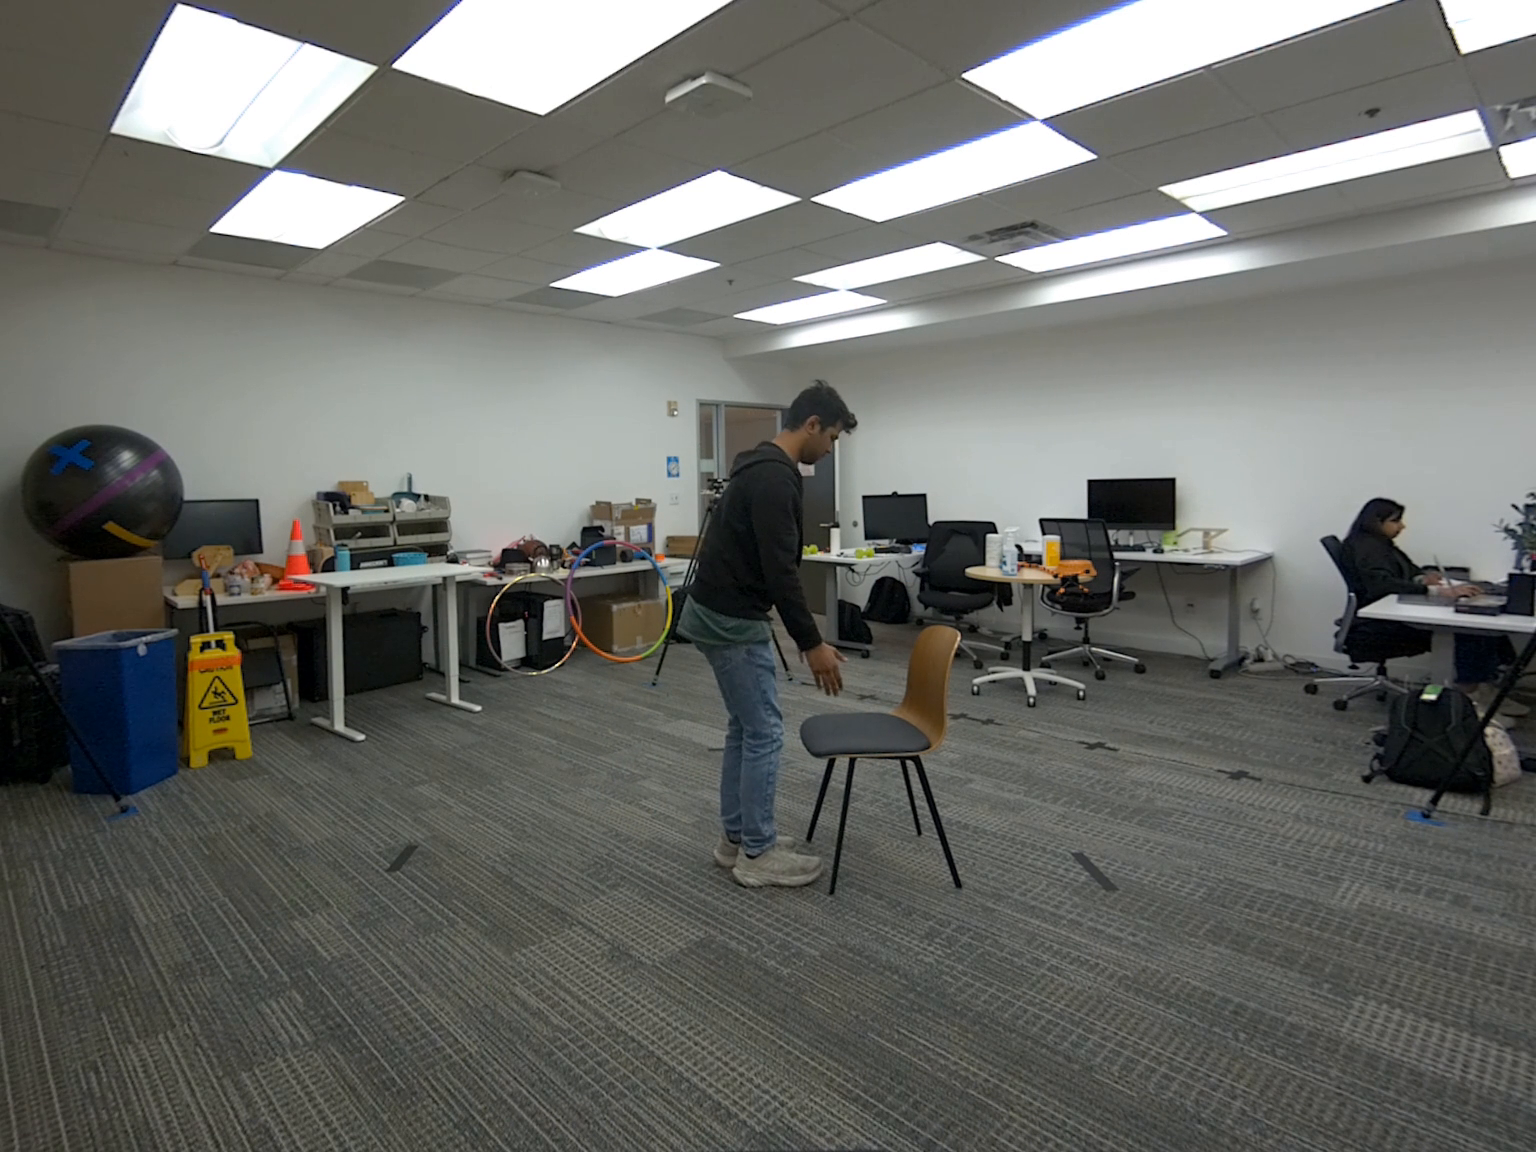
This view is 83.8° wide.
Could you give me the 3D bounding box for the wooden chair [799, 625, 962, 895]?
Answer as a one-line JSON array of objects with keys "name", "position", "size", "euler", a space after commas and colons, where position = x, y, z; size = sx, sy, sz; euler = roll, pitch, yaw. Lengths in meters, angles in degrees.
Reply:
[{"name": "wooden chair", "position": [0.387, 0.610, 3.061], "size": [0.520, 0.874, 0.482], "euler": [3, 4, -6]}]
